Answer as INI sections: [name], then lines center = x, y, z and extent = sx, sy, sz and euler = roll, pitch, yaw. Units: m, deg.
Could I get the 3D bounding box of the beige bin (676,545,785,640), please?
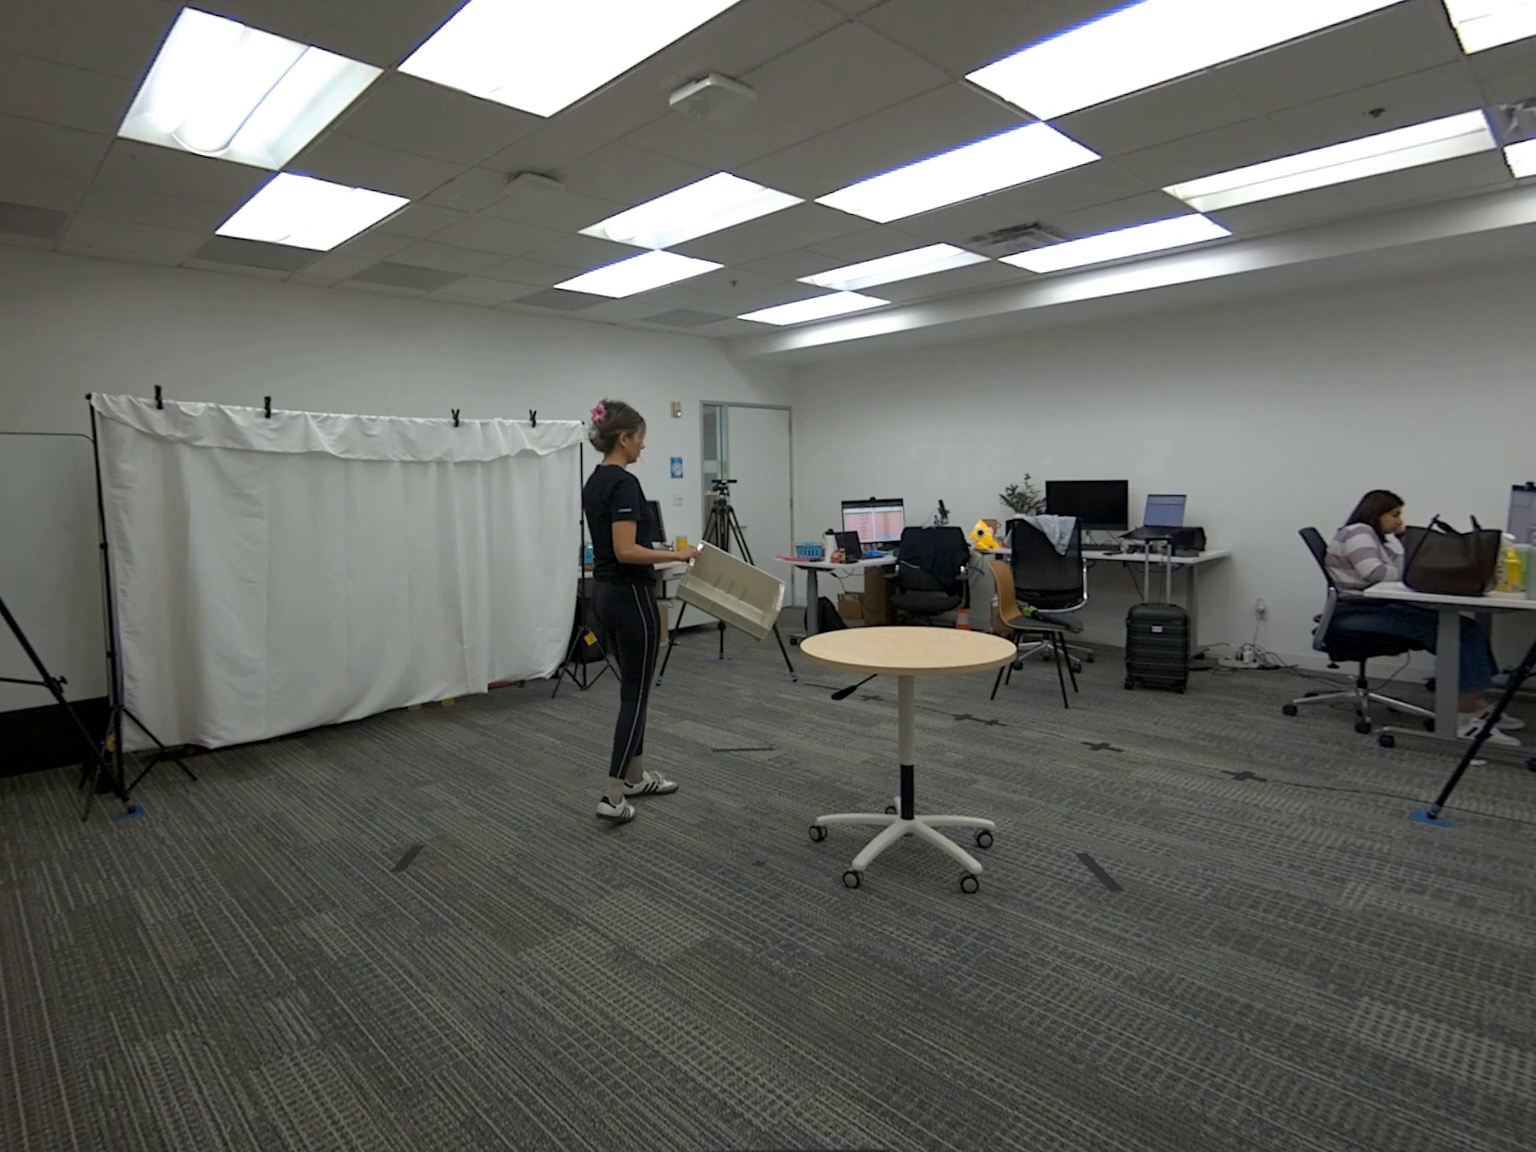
[beige bin]
center = -0.172, 0.071, 3.663
extent = 0.423, 0.188, 0.380
euler = 26, 18, 0
